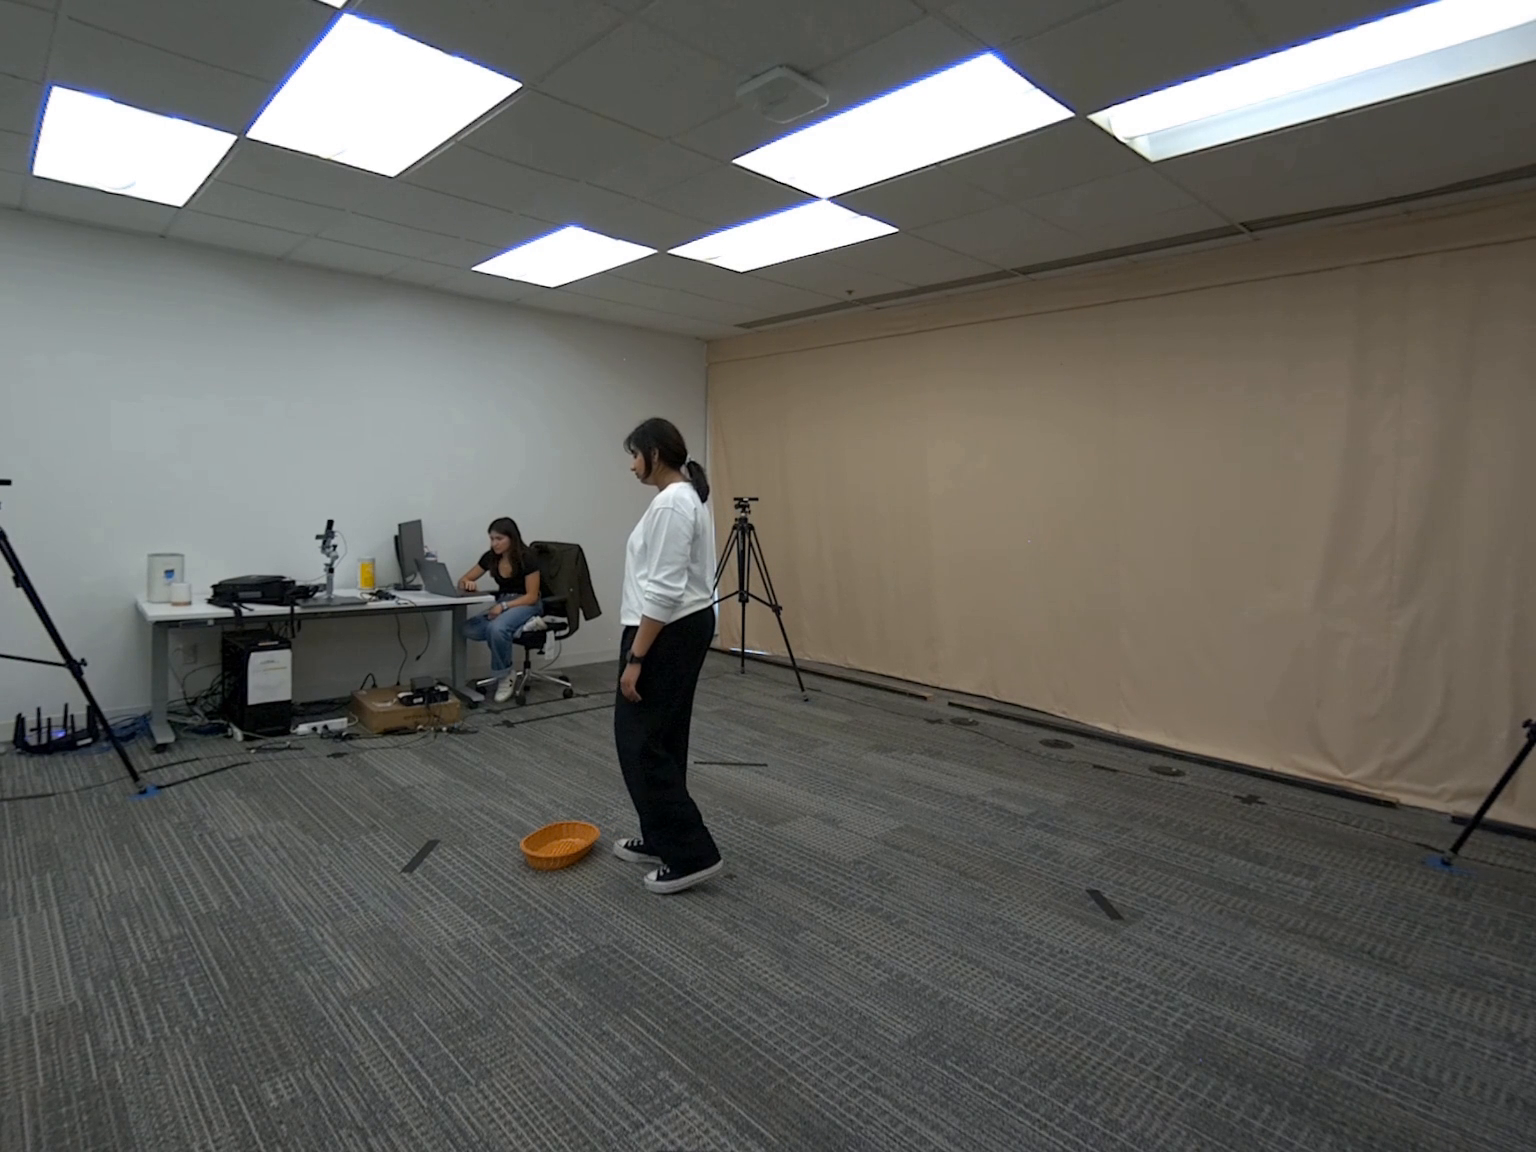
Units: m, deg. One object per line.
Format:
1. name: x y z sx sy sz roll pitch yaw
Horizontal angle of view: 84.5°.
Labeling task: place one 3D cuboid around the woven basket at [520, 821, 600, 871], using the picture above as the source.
1. woven basket: -0.804 1.041 3.249 0.257 0.073 0.344 5 6 26
